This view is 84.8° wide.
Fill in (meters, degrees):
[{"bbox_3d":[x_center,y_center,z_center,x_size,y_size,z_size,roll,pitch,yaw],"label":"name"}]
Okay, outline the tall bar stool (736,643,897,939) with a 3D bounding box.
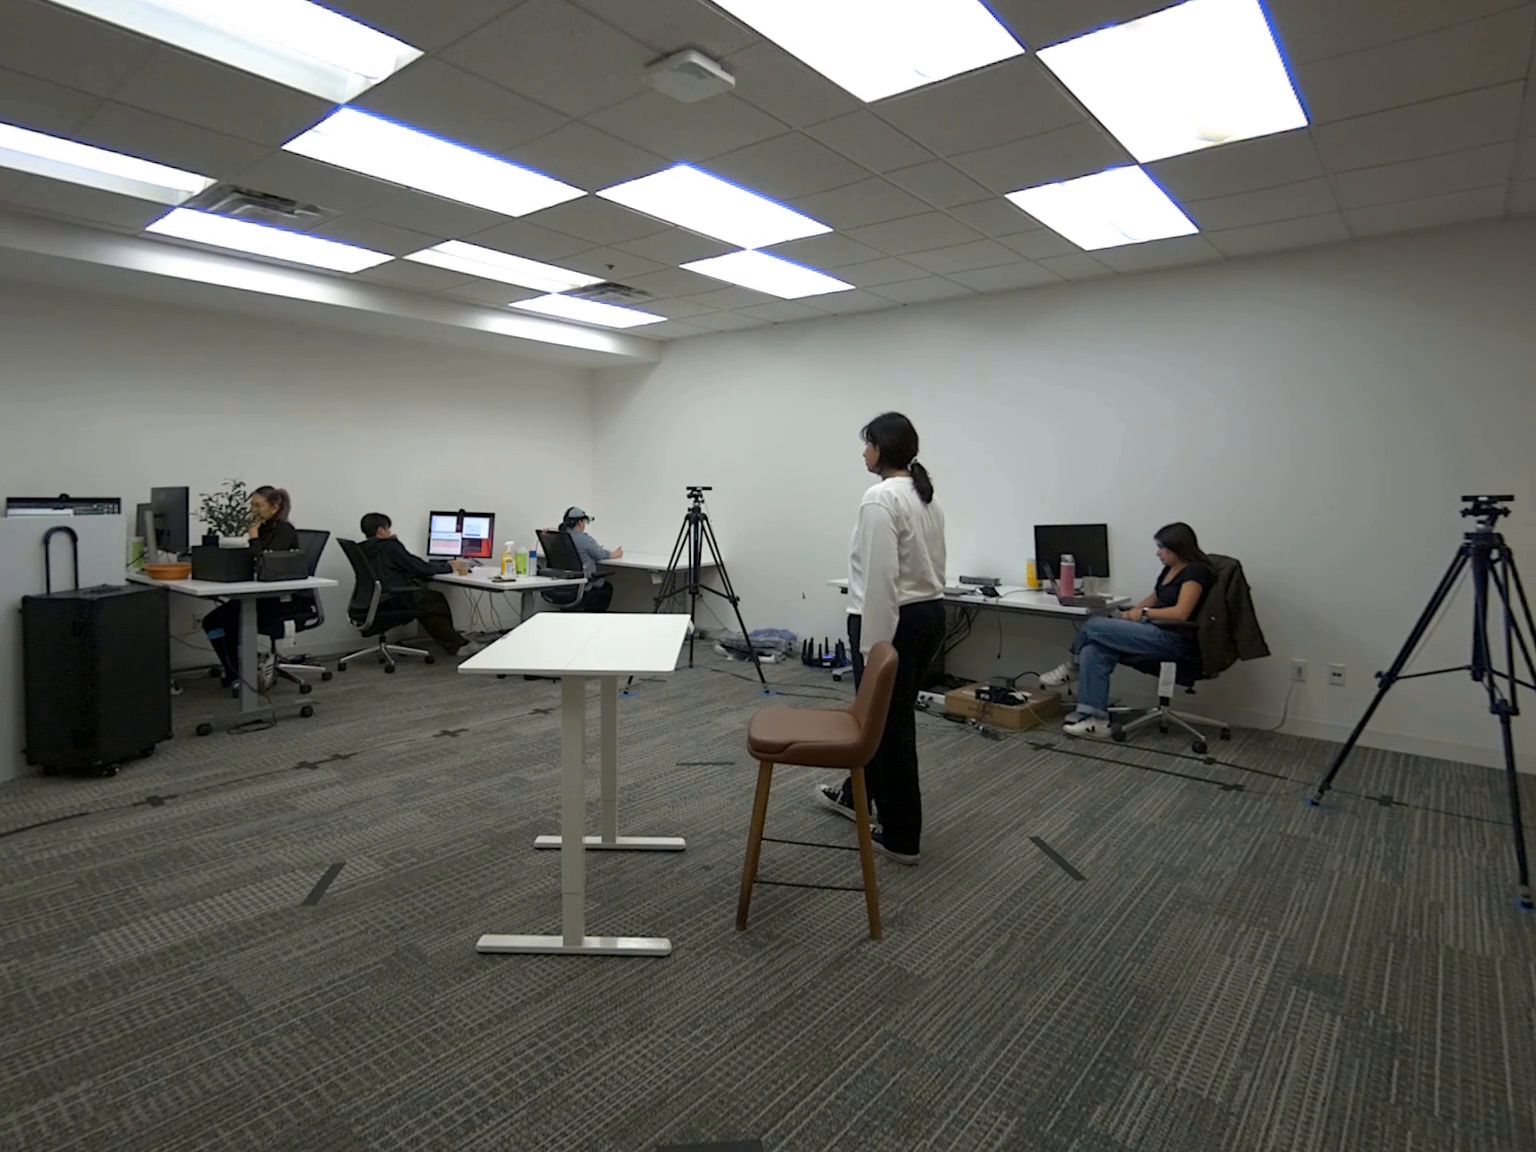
[{"bbox_3d":[0.157,0.668,2.822,0.472,0.887,0.454,4,3,7],"label":"tall bar stool"}]
